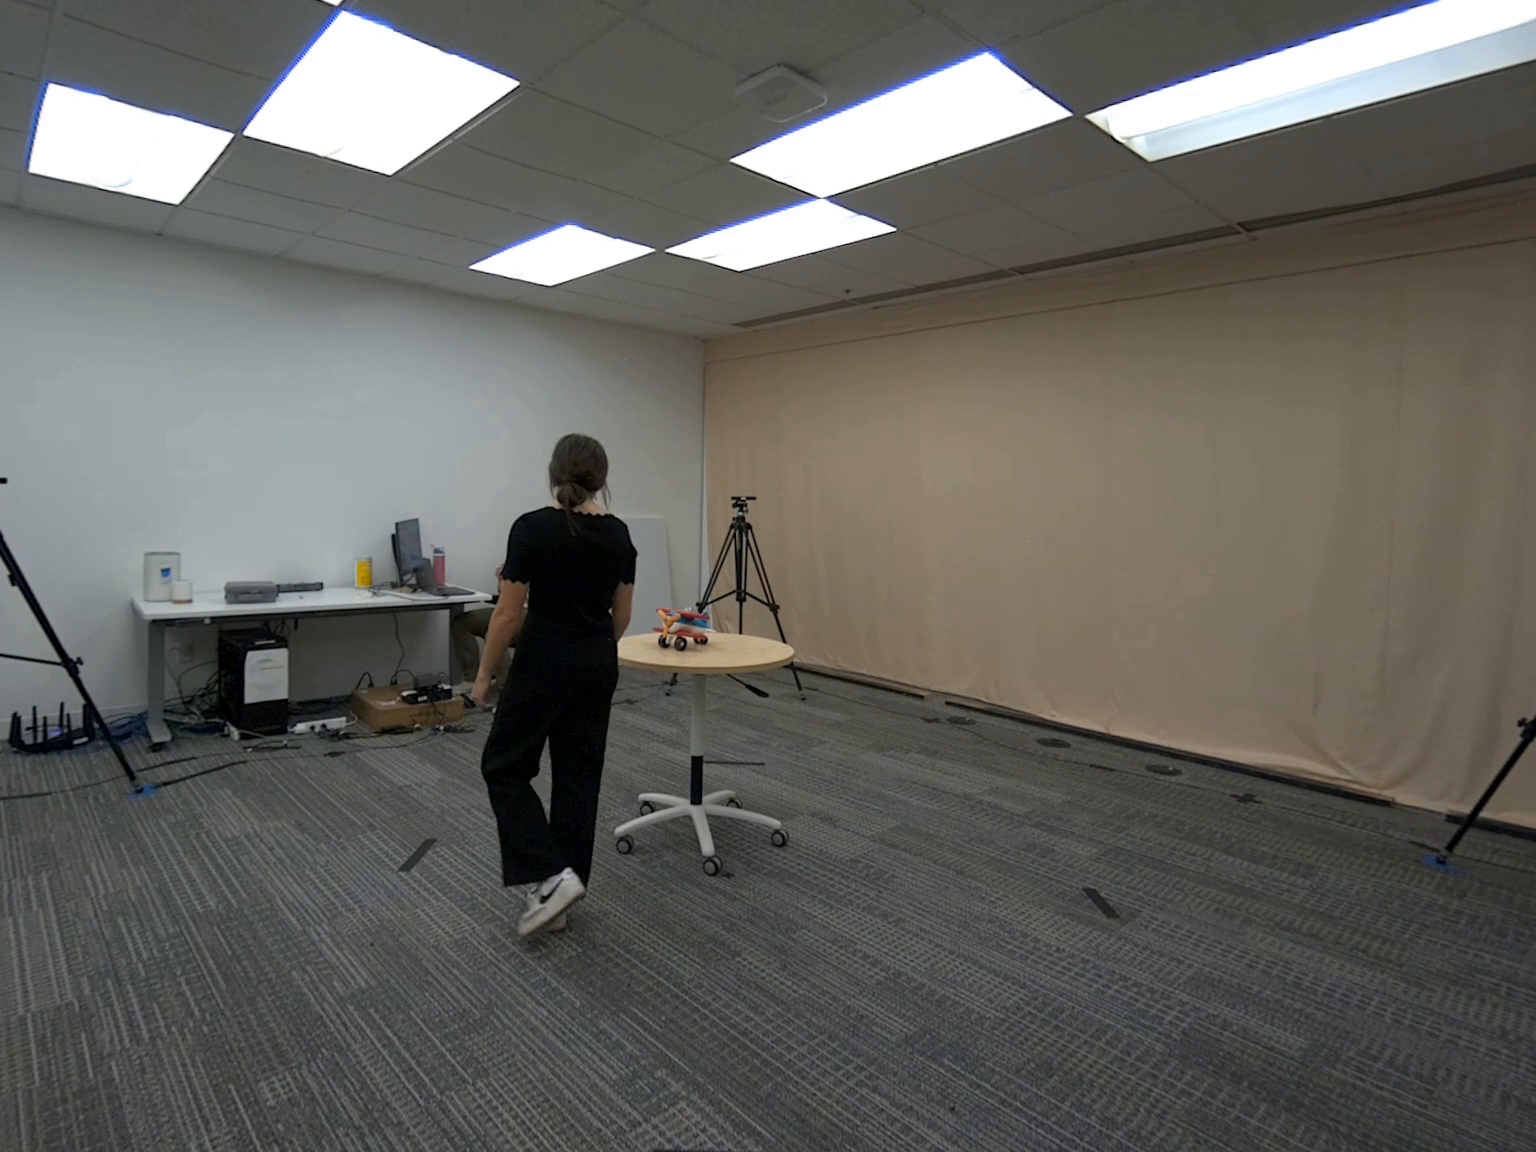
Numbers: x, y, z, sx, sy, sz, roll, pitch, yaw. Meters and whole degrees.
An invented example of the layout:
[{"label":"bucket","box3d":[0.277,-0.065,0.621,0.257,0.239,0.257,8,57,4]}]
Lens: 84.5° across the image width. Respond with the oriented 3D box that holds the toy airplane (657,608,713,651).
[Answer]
[{"label":"toy airplane","box3d":[-0.361,0.209,3.430,0.253,0.156,0.258,3,5,7]}]
